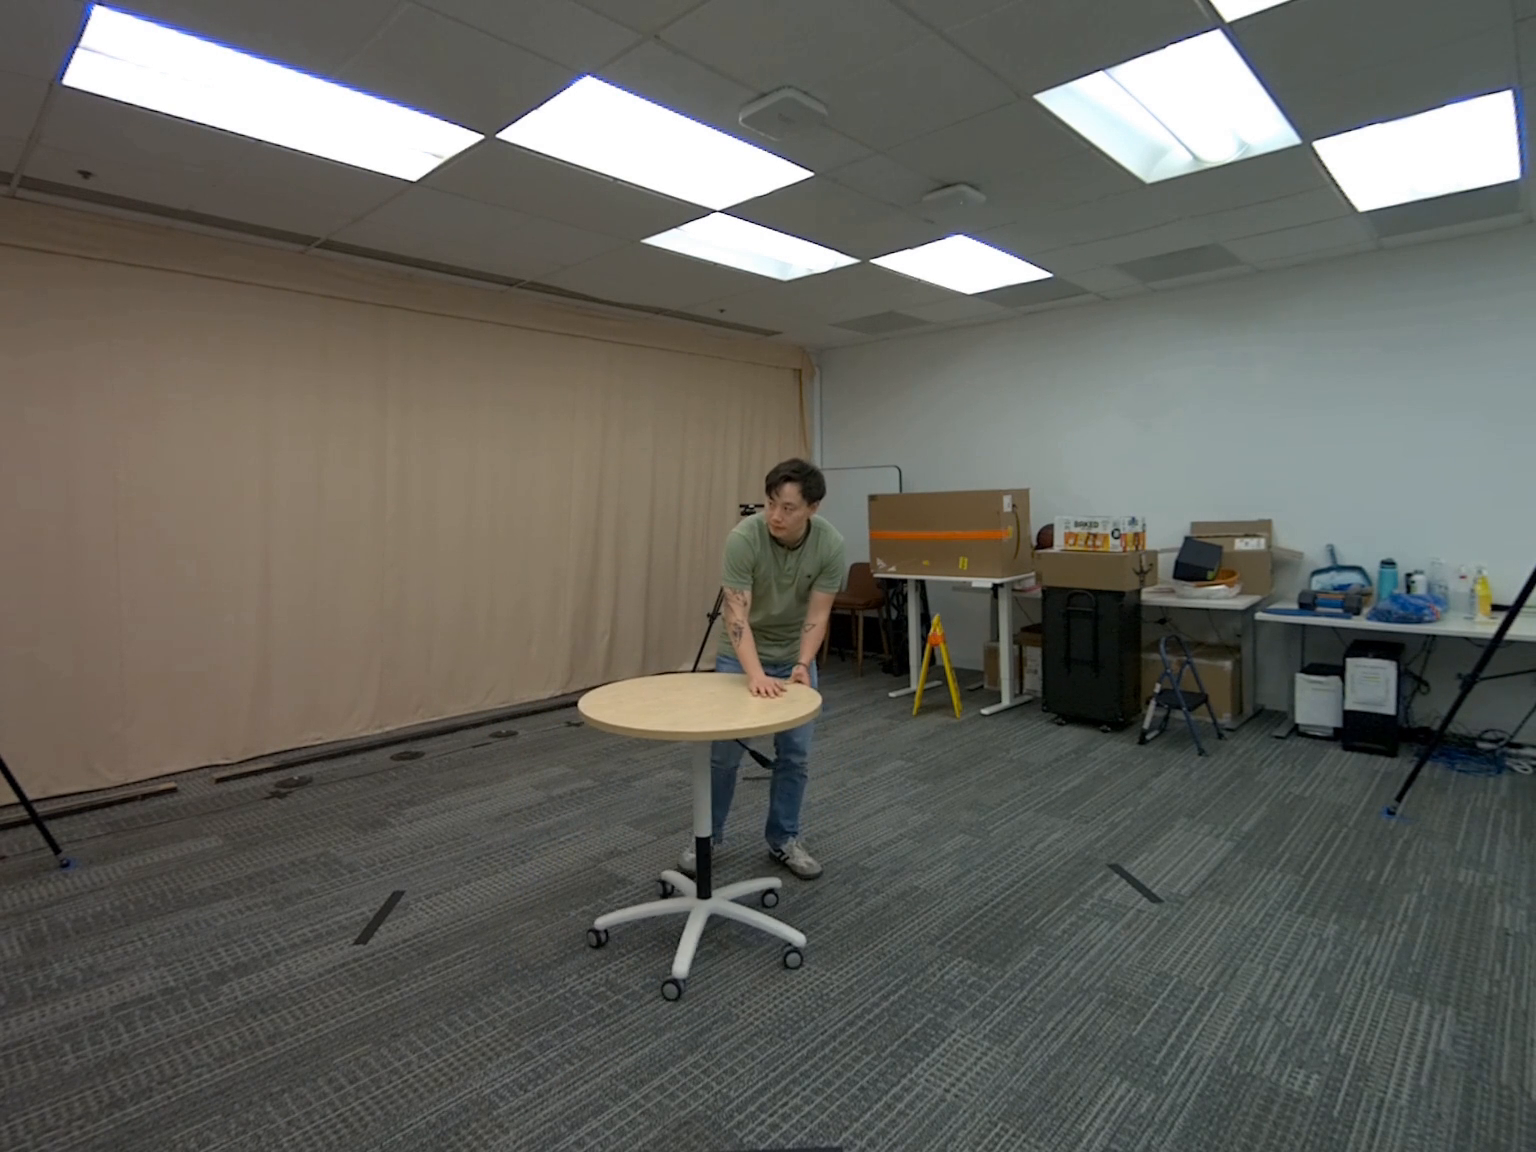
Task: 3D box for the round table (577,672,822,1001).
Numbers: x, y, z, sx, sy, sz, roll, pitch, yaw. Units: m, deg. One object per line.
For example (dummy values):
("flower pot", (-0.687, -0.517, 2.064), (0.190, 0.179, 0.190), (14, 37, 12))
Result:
("round table", (-0.205, 0.780, 2.685), (0.763, 0.792, 0.767), (-1, 4, -2))
